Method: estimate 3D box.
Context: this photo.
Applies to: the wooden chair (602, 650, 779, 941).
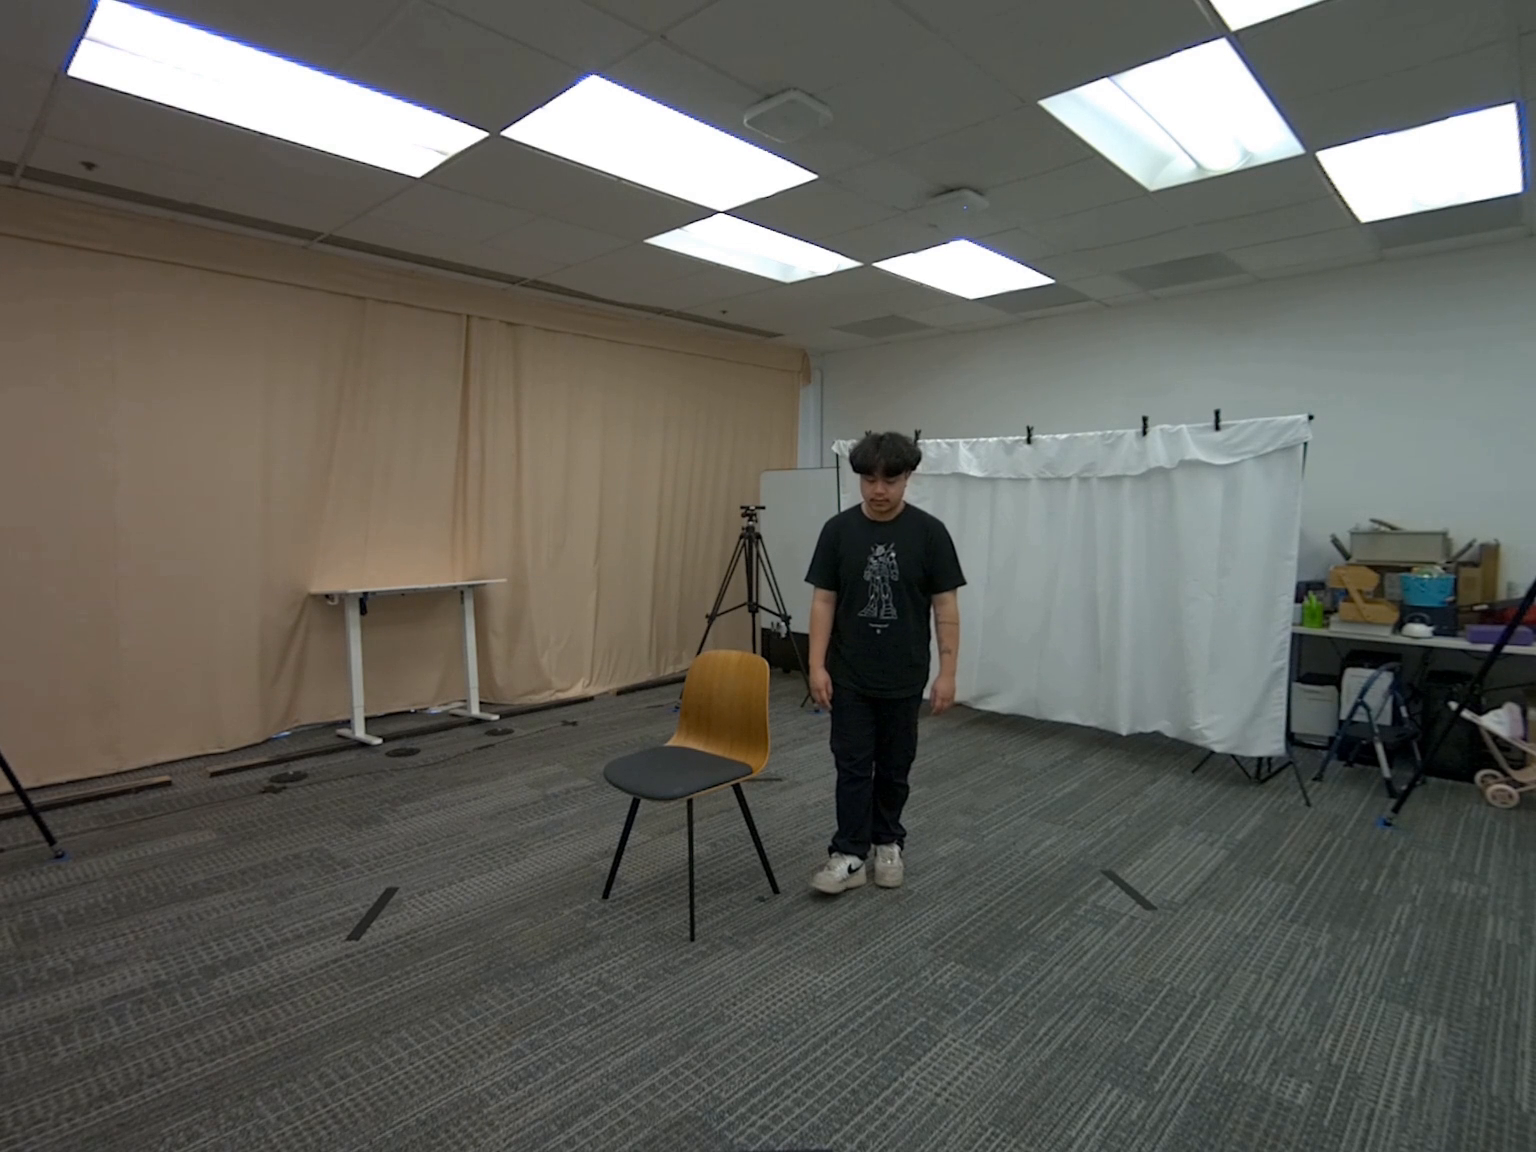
[{"bbox_3d":[-0.276,0.722,2.973,0.494,0.877,0.506,2,0,41],"label":"wooden chair"}]
